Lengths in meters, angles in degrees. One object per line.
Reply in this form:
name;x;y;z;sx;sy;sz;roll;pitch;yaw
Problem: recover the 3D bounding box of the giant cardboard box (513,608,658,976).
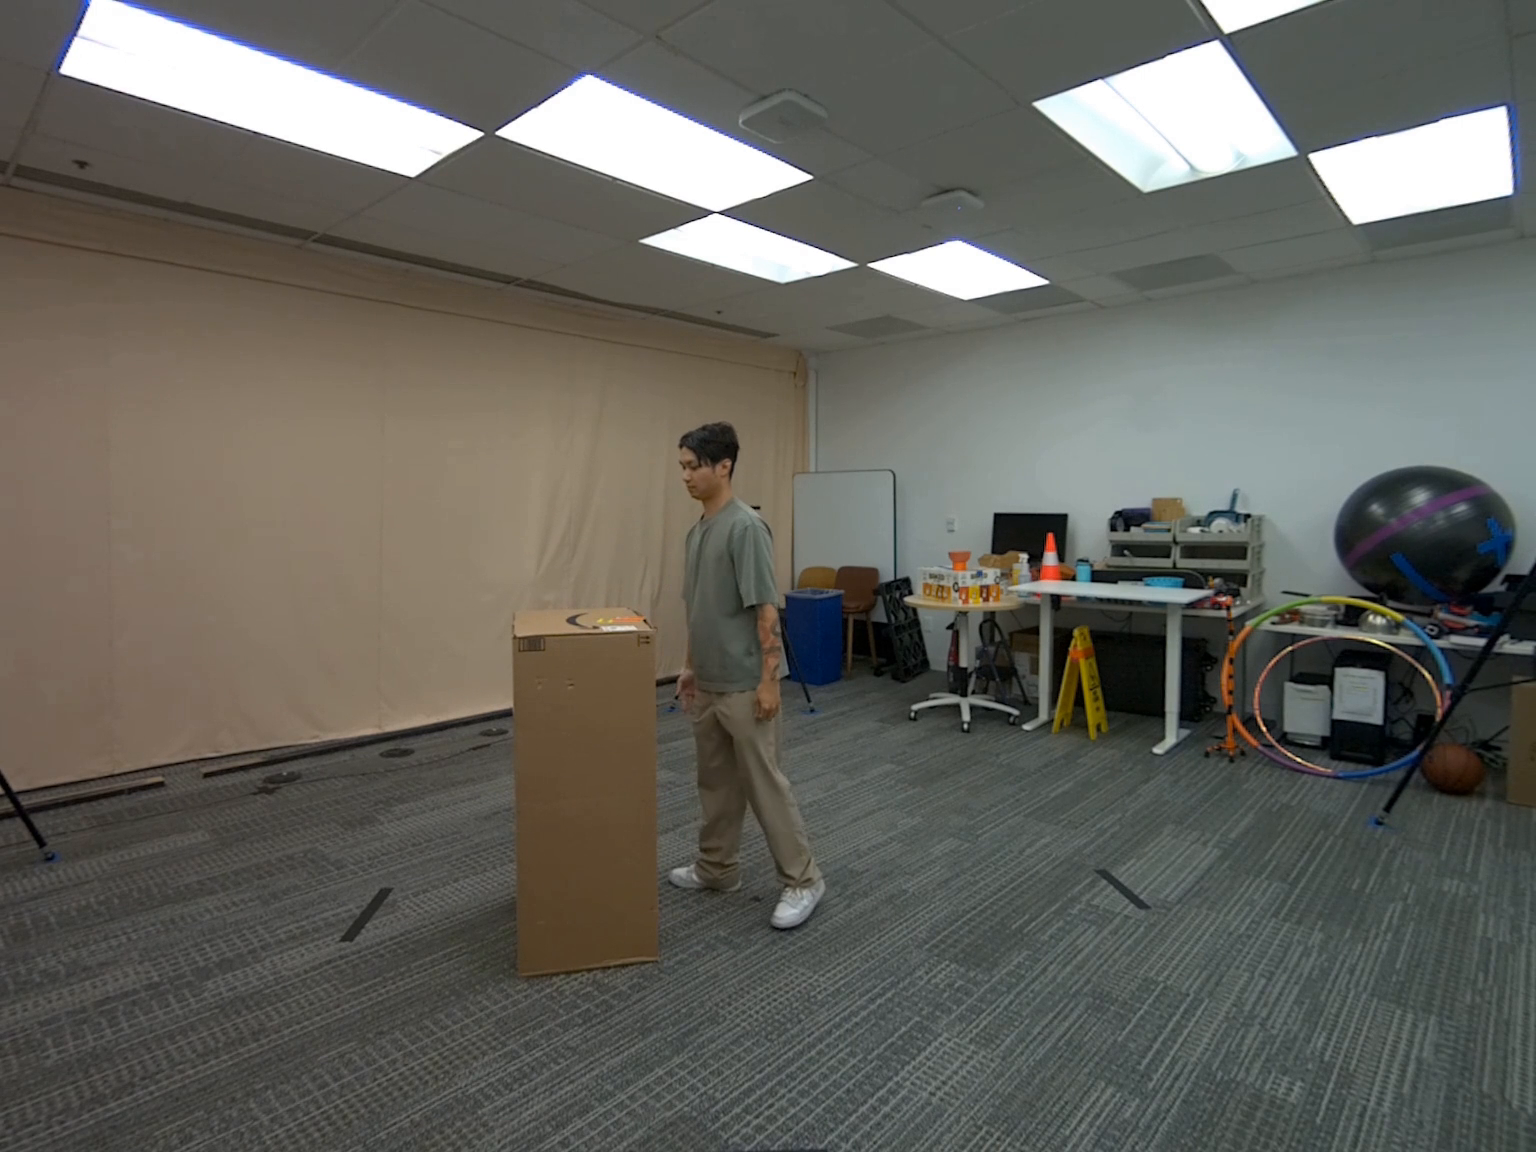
giant cardboard box;-0.616;0.658;2.789;0.420;1.024;0.586;-1;3;-14
